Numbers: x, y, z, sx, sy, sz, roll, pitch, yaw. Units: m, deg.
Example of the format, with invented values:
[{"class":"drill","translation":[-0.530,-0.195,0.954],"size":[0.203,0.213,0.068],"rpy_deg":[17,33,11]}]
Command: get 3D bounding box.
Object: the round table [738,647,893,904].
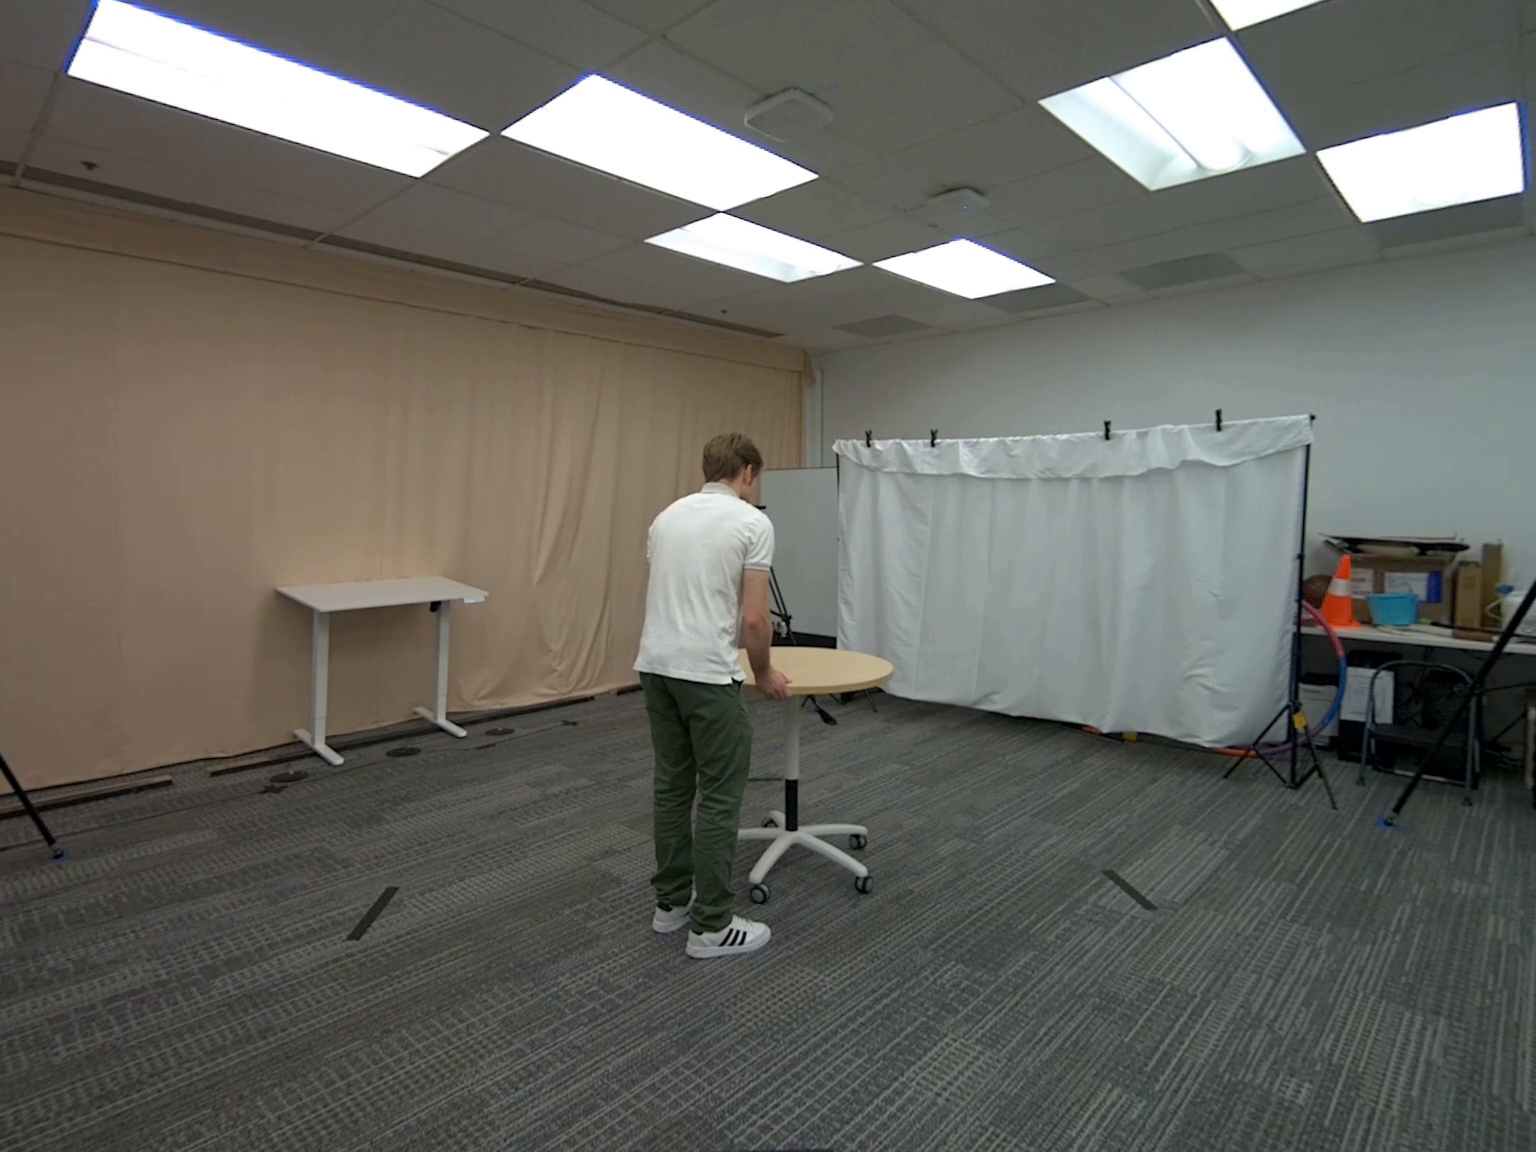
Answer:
[{"class":"round table","translation":[0.094,0.731,3.244],"size":[0.763,0.792,0.767],"rpy_deg":[0,4,-2]}]
